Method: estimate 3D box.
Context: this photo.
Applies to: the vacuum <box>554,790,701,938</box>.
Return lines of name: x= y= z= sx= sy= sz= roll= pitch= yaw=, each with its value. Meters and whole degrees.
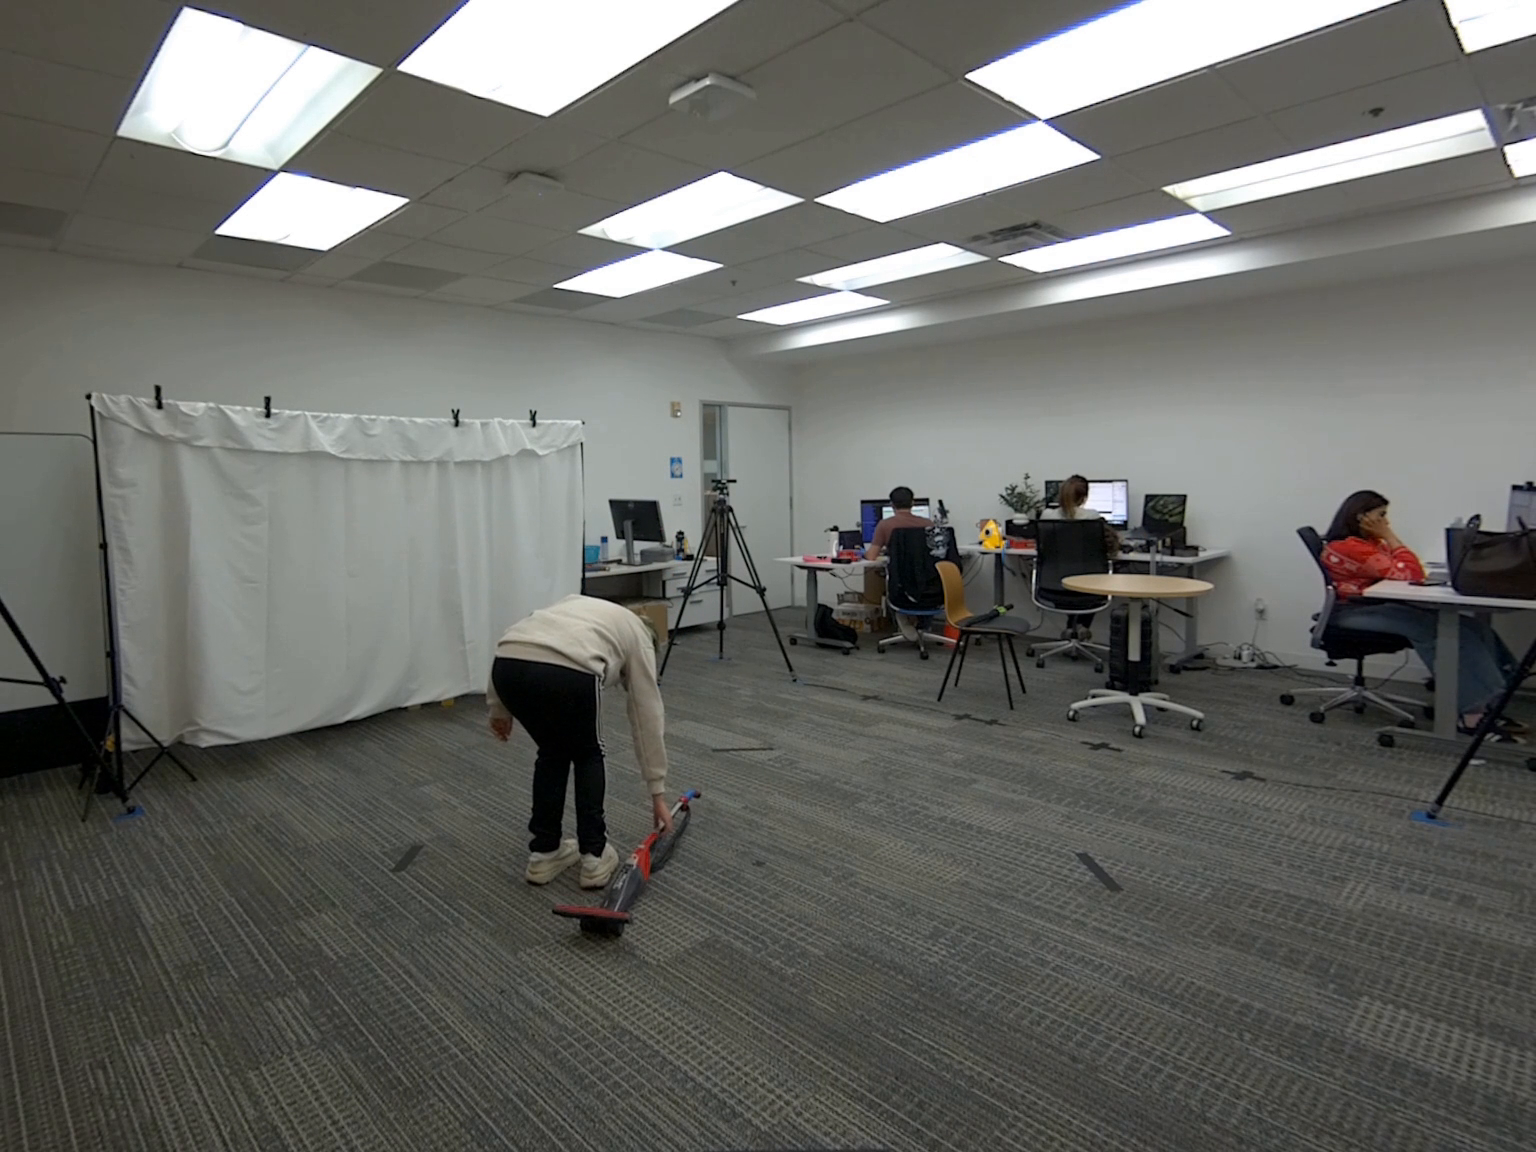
vacuum: x=-0.403 y=0.989 z=3.123 sx=0.256 sy=0.143 sz=1.041 roll=-1 pitch=7 yaw=12
